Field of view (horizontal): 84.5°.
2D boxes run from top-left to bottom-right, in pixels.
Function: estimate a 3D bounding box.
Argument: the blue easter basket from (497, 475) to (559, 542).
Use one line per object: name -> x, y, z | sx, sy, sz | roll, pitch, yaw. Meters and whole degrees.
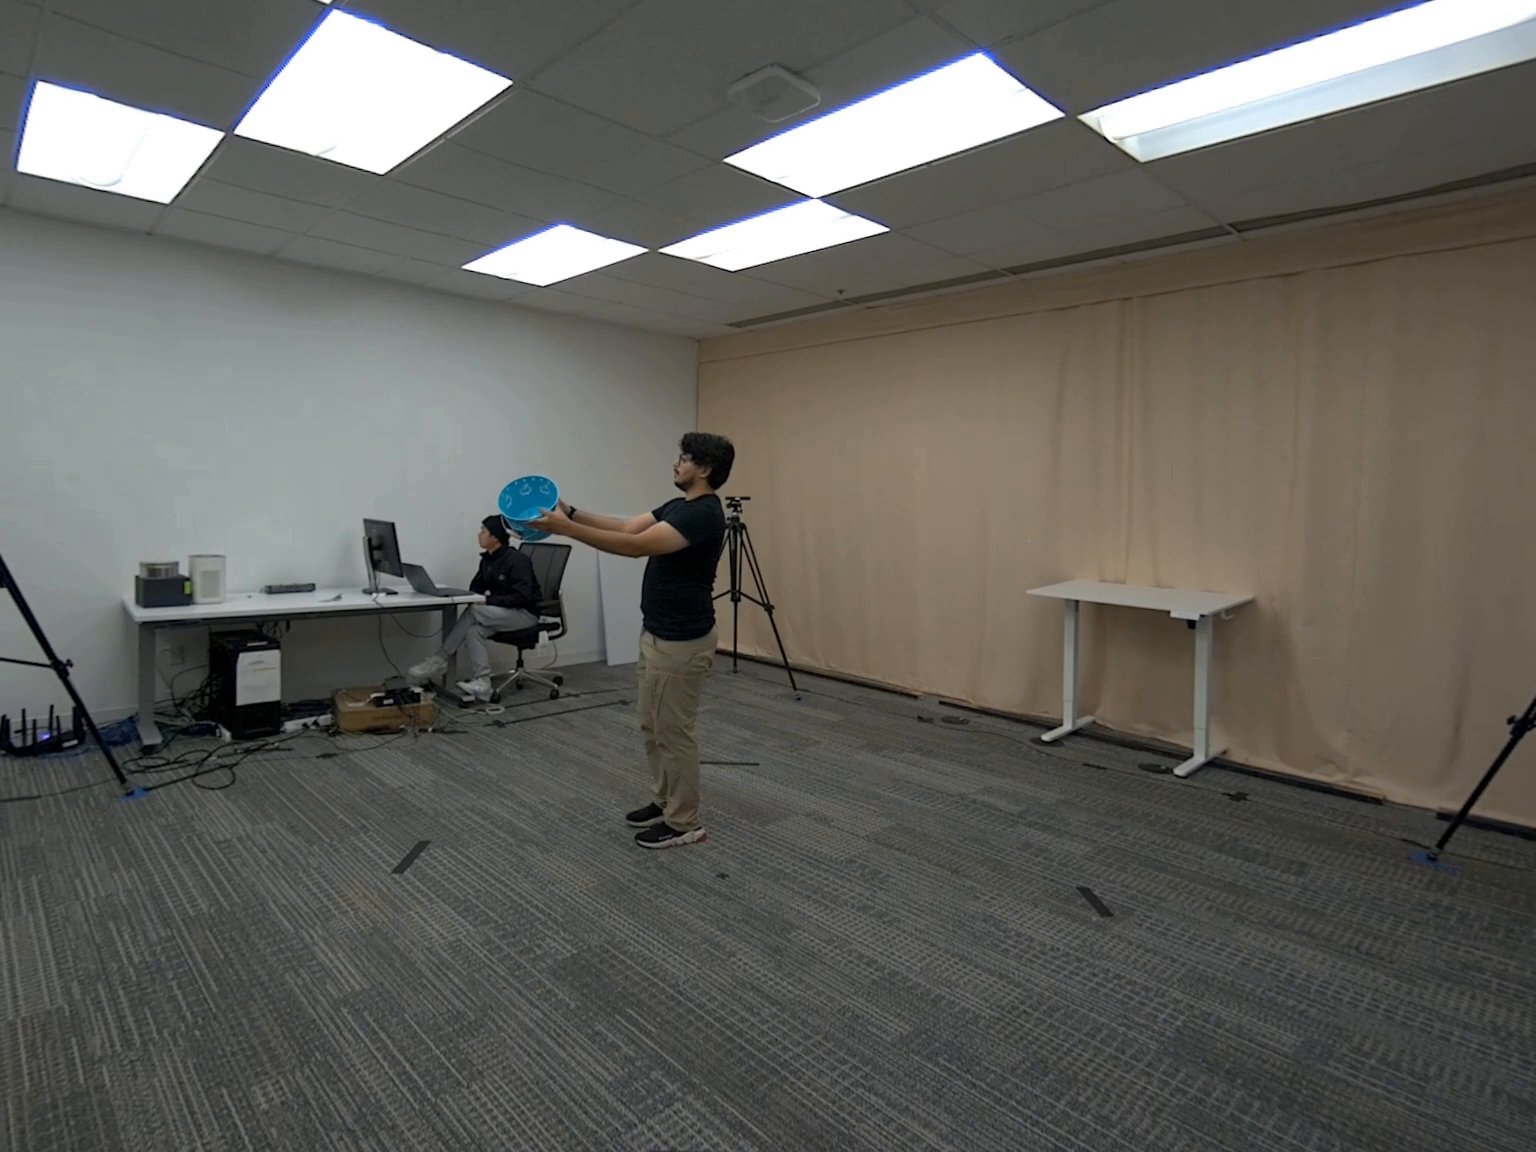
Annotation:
blue easter basket -> -0.914, -0.246, 3.224 | 0.244, 0.248, 0.152 | 1, -37, 3
